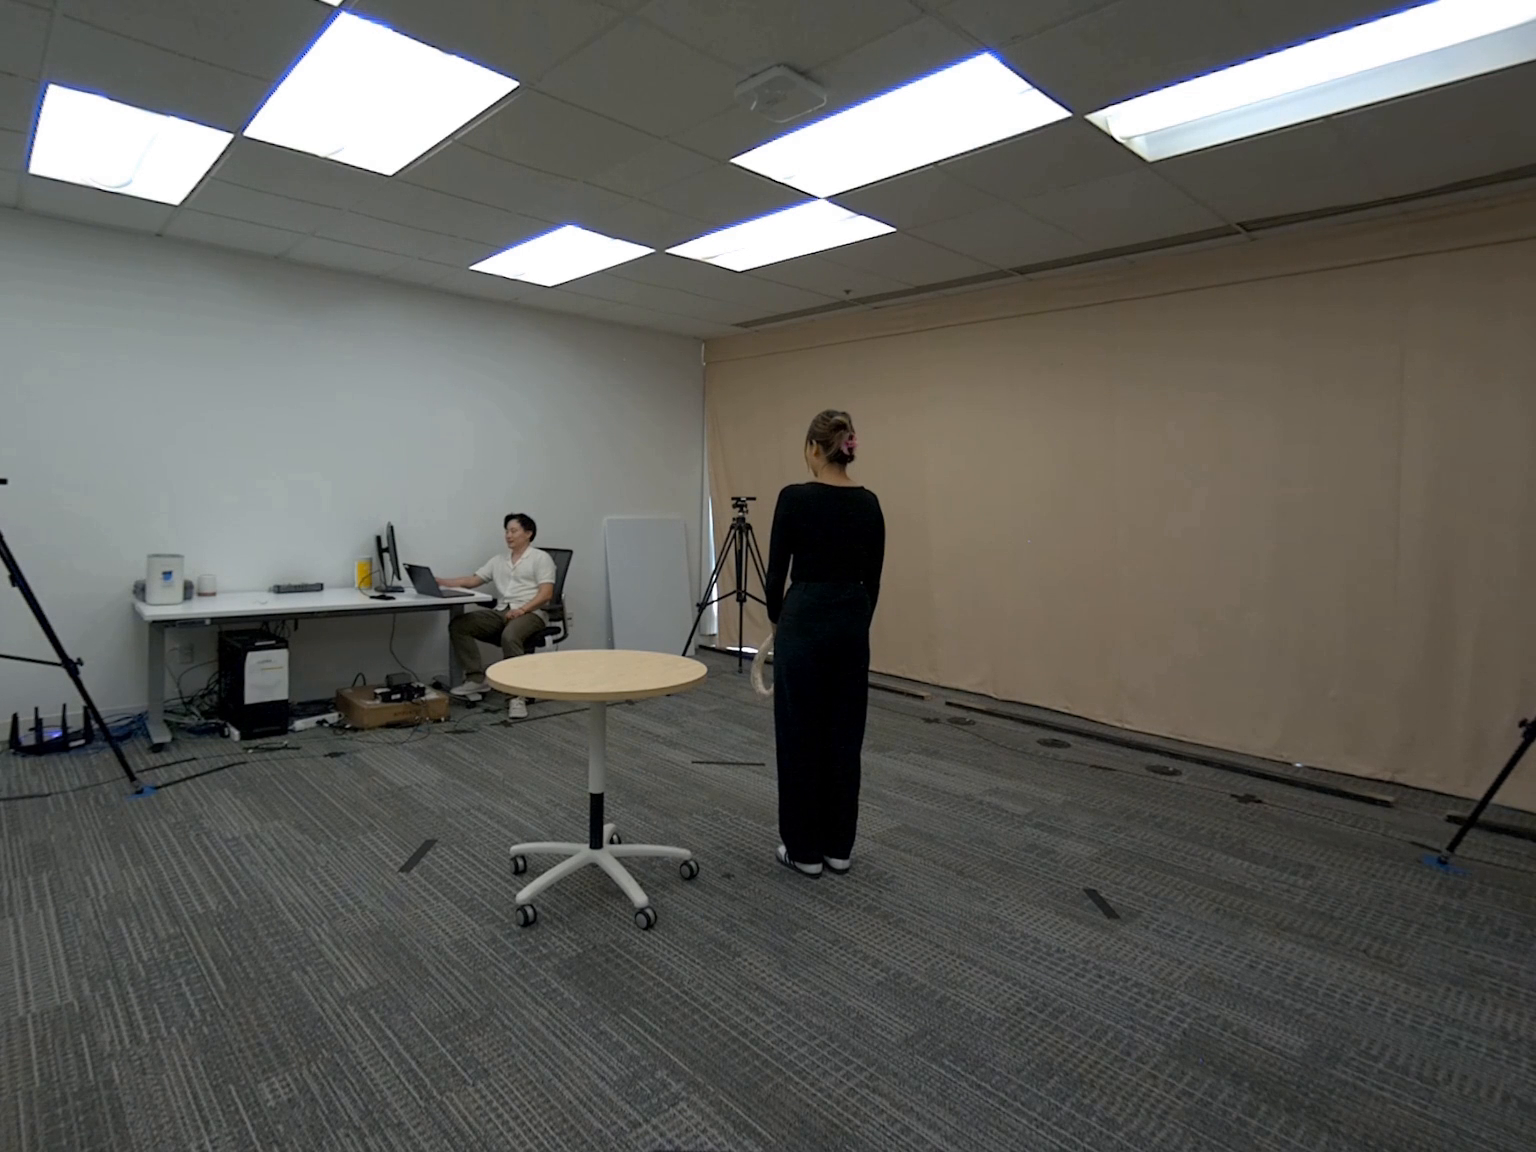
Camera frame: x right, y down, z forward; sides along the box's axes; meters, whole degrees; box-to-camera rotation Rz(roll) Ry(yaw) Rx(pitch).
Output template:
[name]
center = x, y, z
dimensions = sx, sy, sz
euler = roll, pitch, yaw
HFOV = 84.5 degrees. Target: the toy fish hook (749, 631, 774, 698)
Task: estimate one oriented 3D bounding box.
[toy fish hook]
center = 0.034, 0.299, 3.417
dimensions = 0.047, 0.501, 0.232
euler = 1, 36, -29
